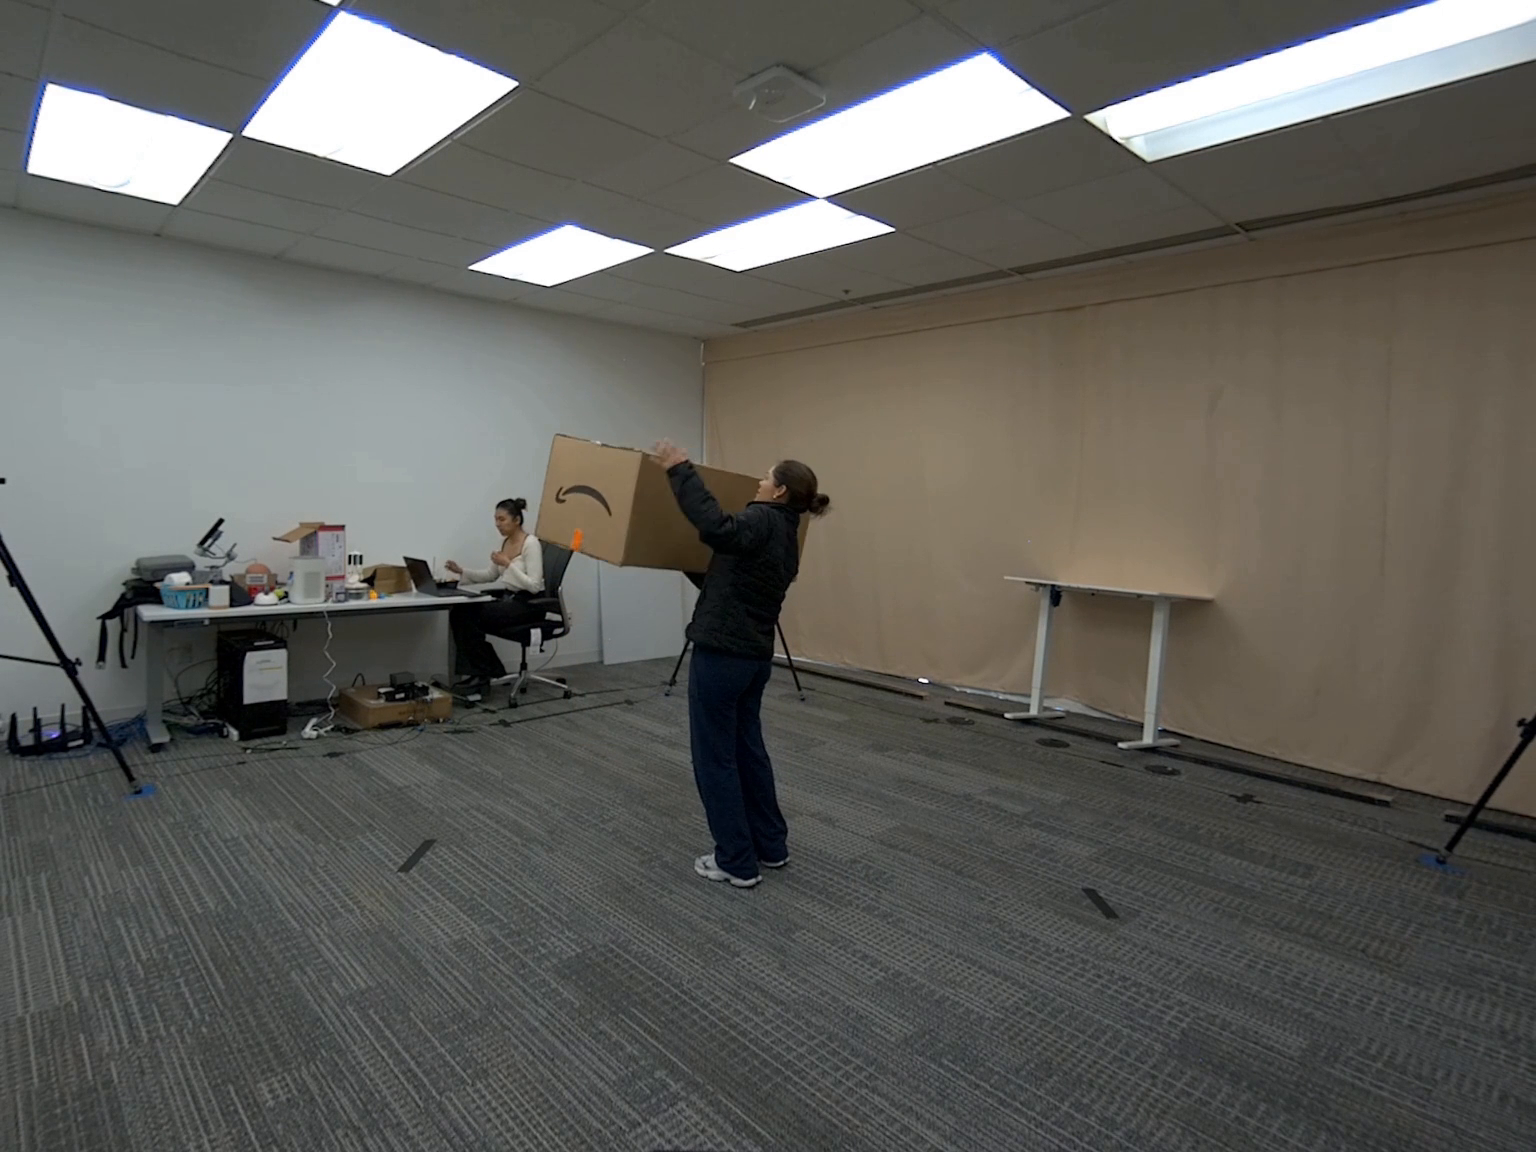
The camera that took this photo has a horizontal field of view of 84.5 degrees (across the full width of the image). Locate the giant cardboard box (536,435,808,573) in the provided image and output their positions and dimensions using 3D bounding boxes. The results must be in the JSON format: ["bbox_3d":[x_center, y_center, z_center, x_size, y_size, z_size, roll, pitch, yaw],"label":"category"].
[{"bbox_3d":[-0.370,-0.268,3.546,0.594,0.425,0.999,16,7,41],"label":"giant cardboard box"}]
